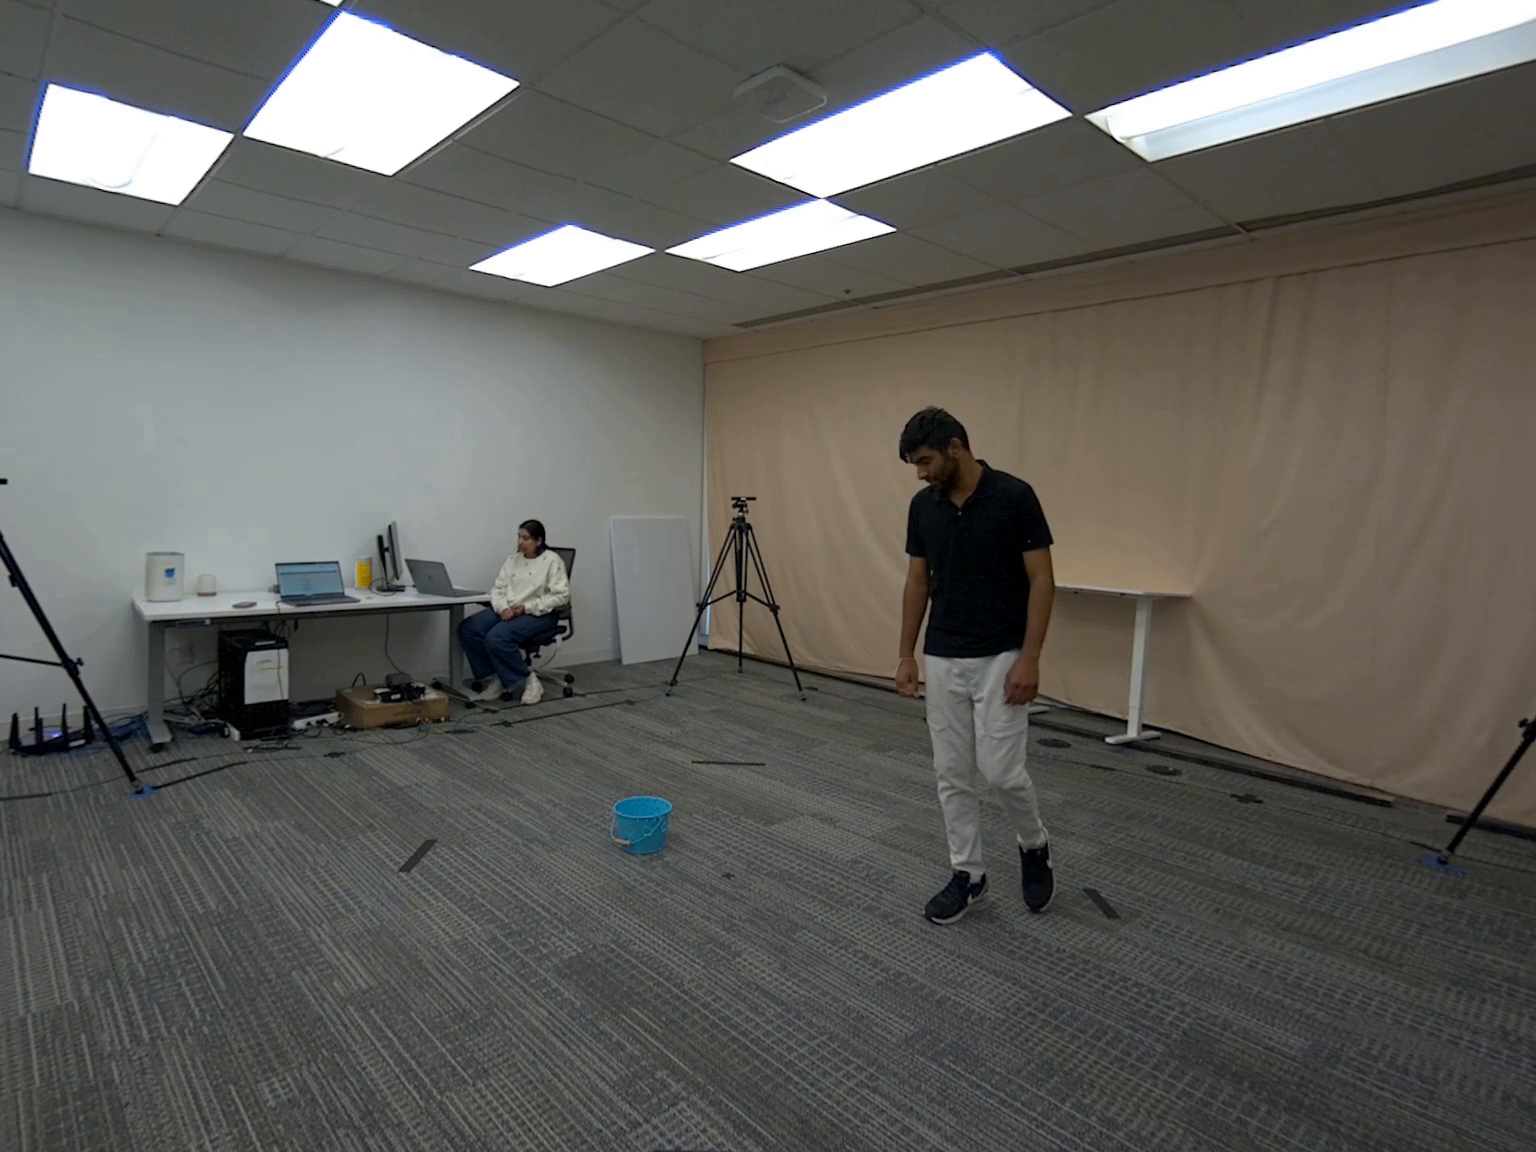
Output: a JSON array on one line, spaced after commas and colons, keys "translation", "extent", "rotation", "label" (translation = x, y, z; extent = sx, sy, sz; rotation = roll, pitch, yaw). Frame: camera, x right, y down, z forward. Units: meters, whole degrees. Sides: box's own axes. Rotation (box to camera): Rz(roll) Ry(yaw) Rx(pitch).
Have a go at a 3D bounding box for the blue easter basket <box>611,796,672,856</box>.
[{"translation": [-0.518, 0.996, 3.369], "extent": [0.243, 0.155, 0.244], "rotation": [2, 4, -1], "label": "blue easter basket"}]
